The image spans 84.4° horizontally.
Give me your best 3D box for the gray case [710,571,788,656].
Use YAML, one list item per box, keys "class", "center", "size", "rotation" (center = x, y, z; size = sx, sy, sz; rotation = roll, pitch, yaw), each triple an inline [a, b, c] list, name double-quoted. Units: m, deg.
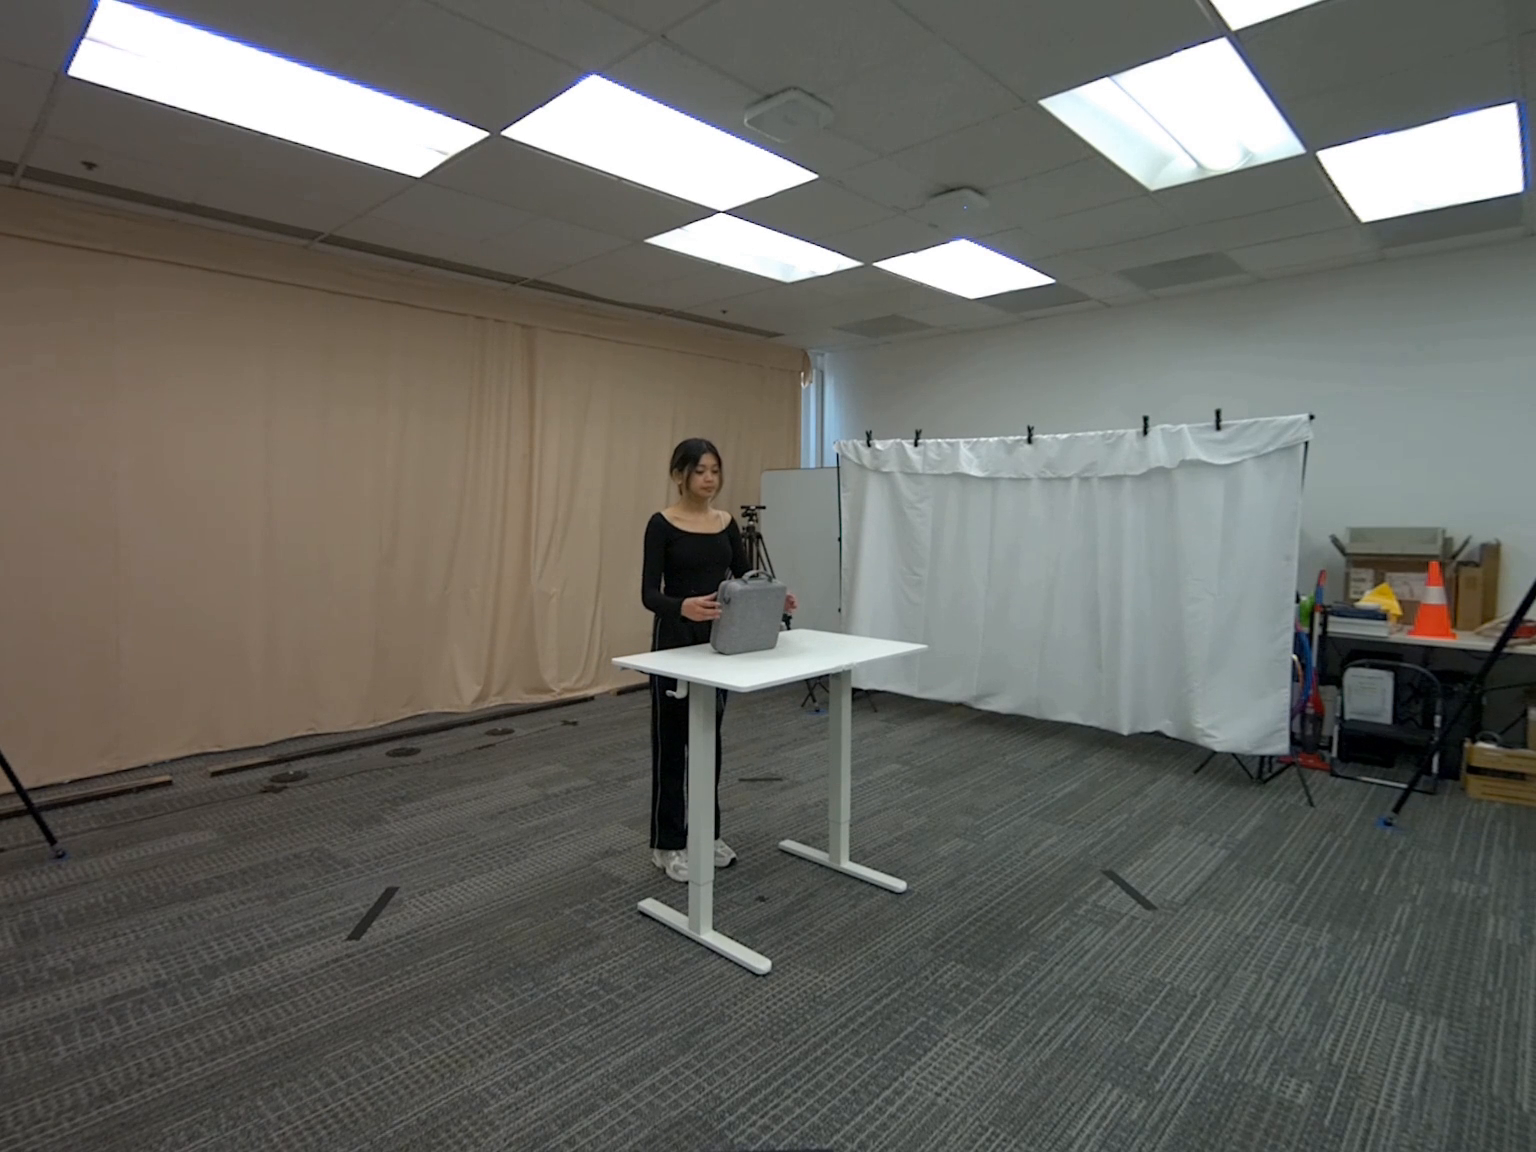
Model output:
- class: "gray case"
  center: [-0.064, 0.136, 2.935]
  size: [0.249, 0.259, 0.108]
  rotation: [-2, 17, -36]
